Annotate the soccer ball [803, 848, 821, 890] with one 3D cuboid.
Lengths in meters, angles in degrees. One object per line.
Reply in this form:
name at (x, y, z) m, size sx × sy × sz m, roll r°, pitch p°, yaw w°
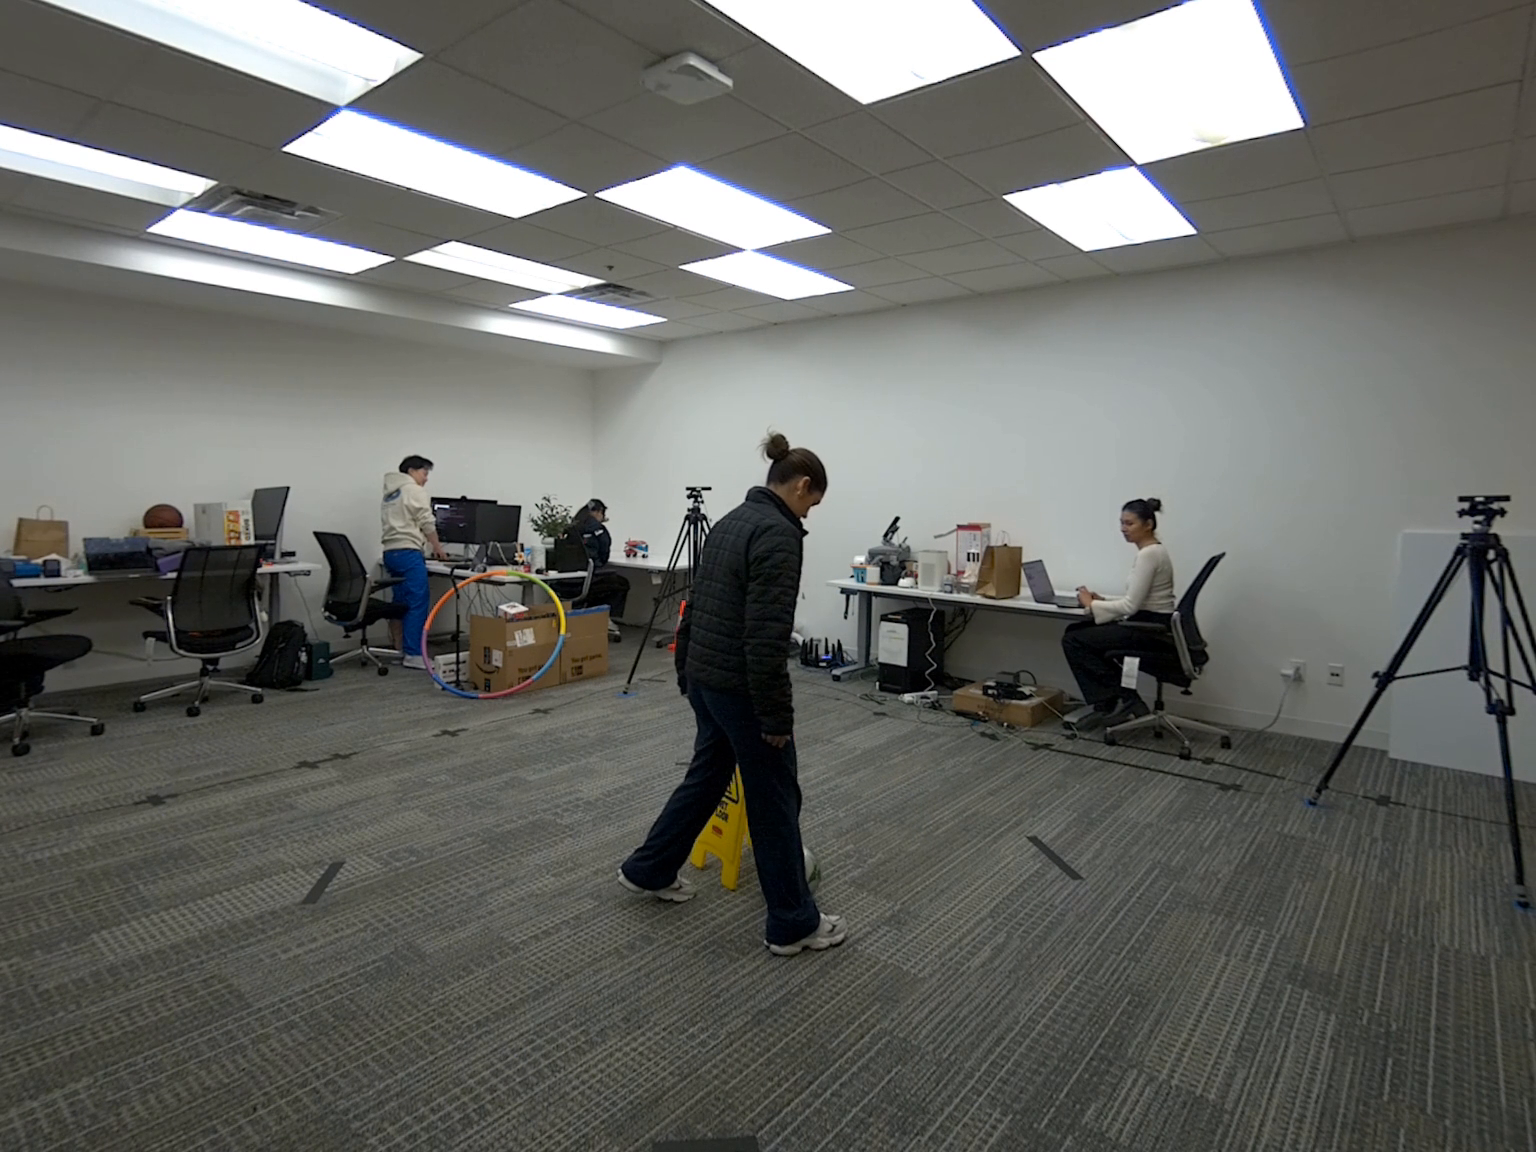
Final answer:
soccer ball at (0.084, 0.996, 2.869) m, size 0.187 × 0.187 × 0.188 m, roll 1°, pitch 4°, yaw -2°
